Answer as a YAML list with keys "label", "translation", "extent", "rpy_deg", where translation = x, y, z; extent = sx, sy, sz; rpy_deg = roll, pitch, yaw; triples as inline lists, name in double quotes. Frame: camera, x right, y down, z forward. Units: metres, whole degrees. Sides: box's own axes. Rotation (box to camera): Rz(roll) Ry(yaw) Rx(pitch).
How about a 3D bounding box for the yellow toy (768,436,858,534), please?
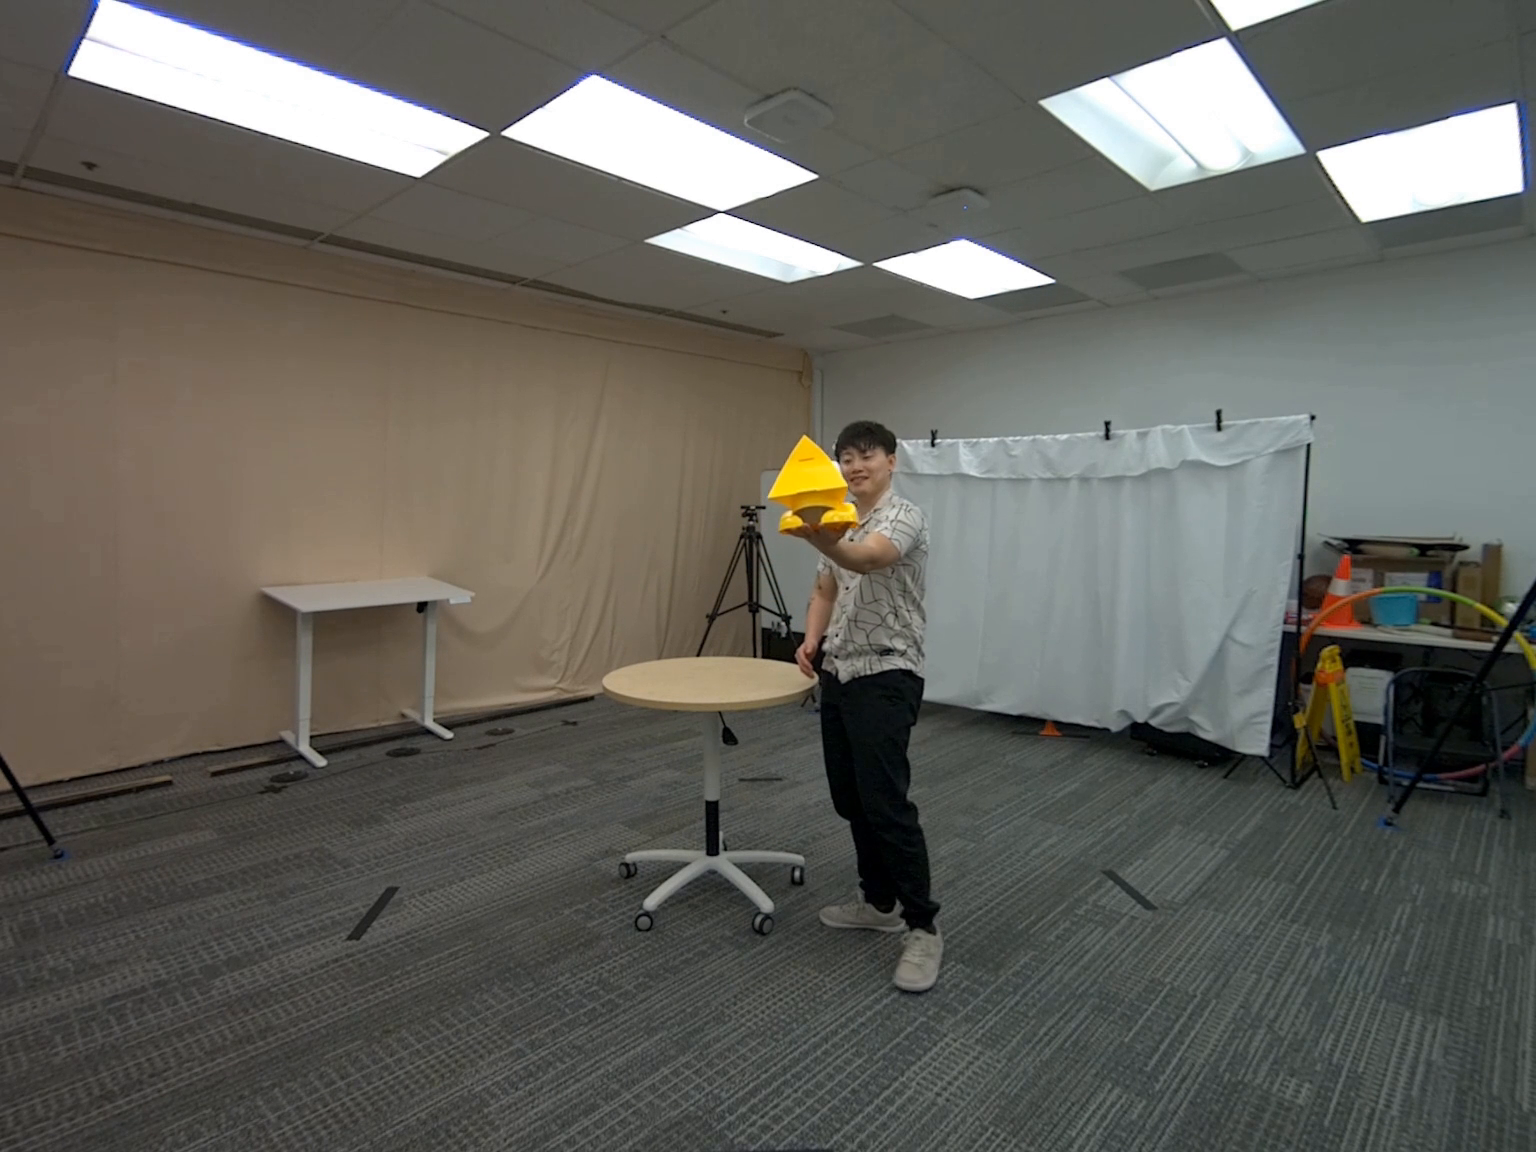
- label: "yellow toy"
  translation: [0.129, -0.238, 2.153]
  extent: [0.208, 0.232, 0.188]
  rpy_deg: [-7, -8, 18]
